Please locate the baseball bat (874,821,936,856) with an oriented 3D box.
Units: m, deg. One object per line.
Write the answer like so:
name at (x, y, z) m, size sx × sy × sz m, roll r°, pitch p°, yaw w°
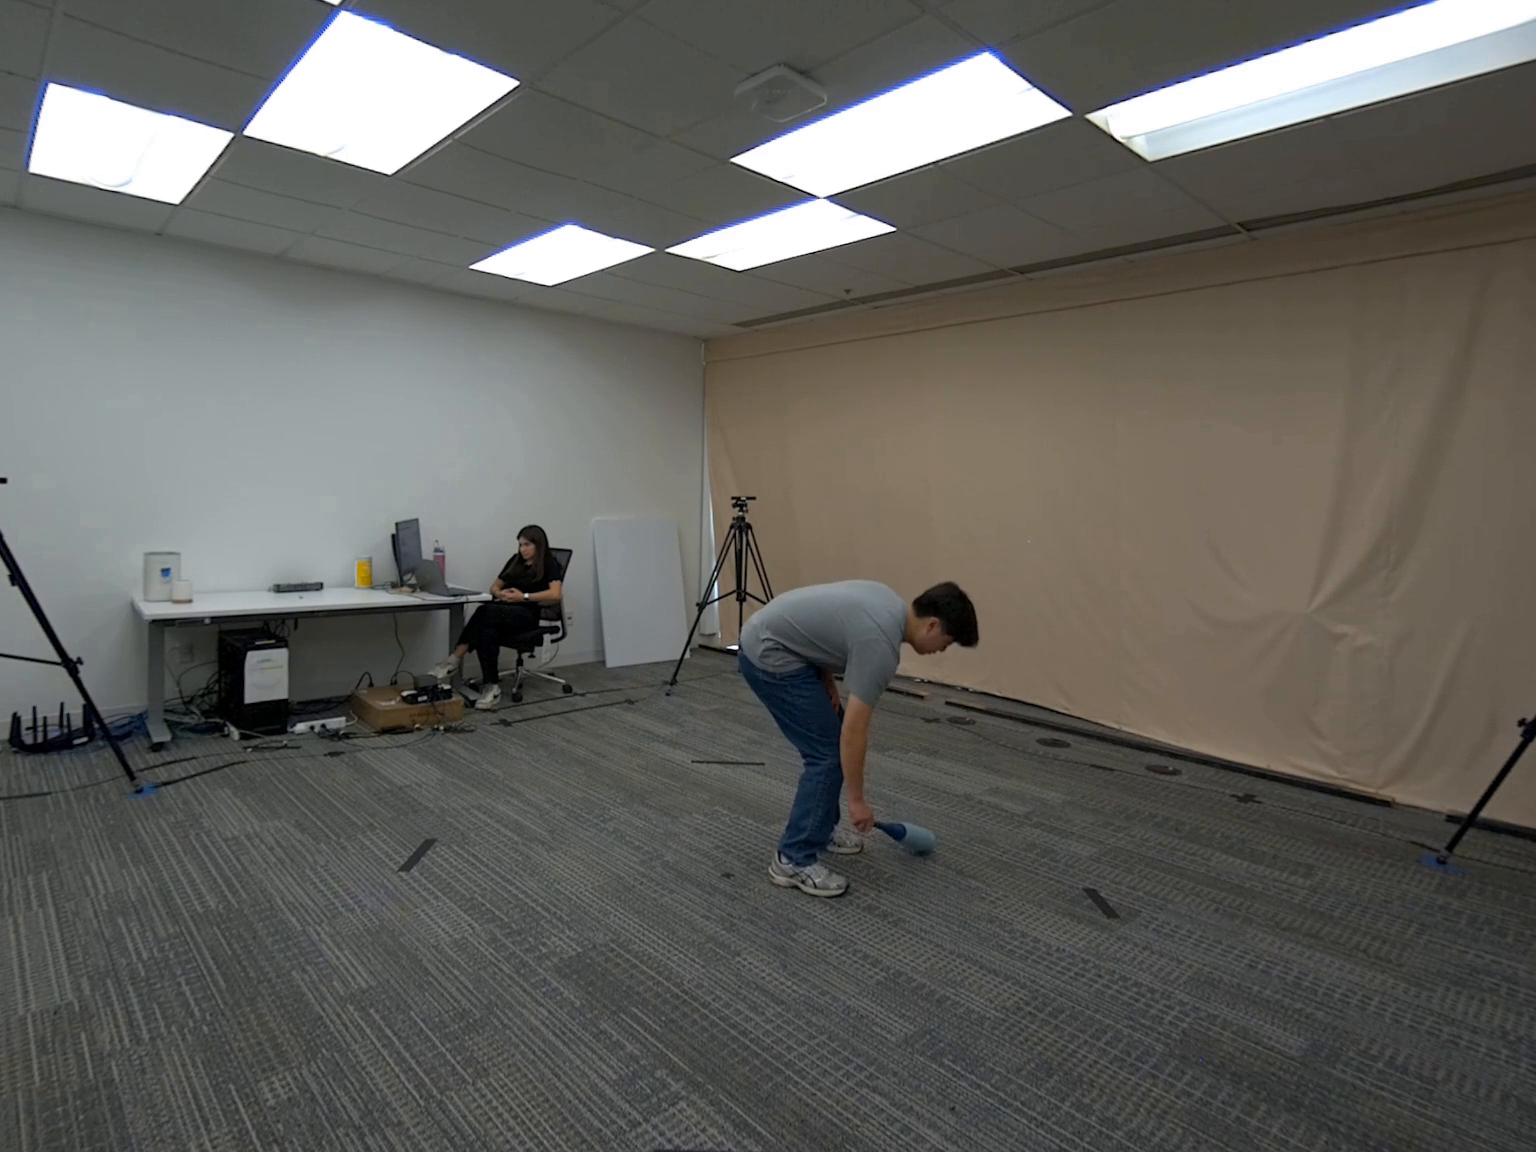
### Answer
baseball bat at (0.475, 0.973, 3.181) m, size 0.091 × 0.090 × 0.526 m, roll 5°, pitch -18°, yaw 37°
